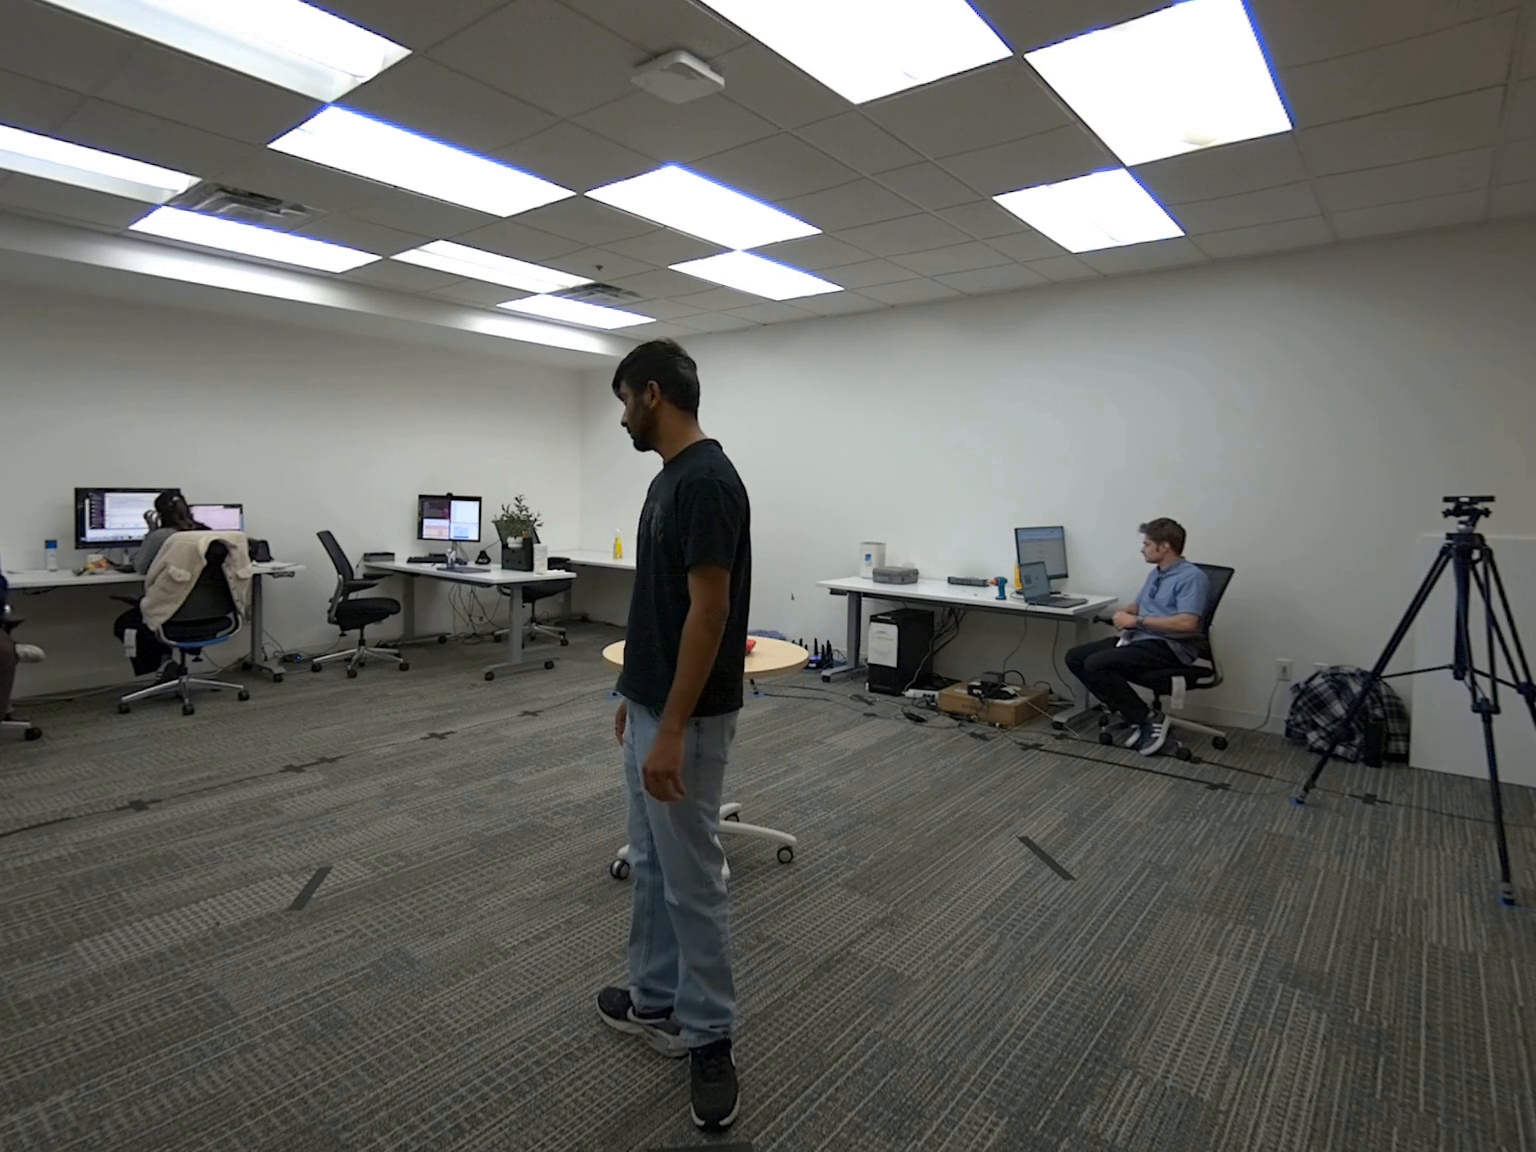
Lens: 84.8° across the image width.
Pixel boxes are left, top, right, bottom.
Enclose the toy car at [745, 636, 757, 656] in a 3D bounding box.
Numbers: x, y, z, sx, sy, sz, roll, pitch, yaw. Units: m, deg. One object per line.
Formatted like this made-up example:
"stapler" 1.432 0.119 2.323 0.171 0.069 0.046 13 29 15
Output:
"toy car" -0.182 0.248 3.158 0.260 0.083 0.128 13 8 15
